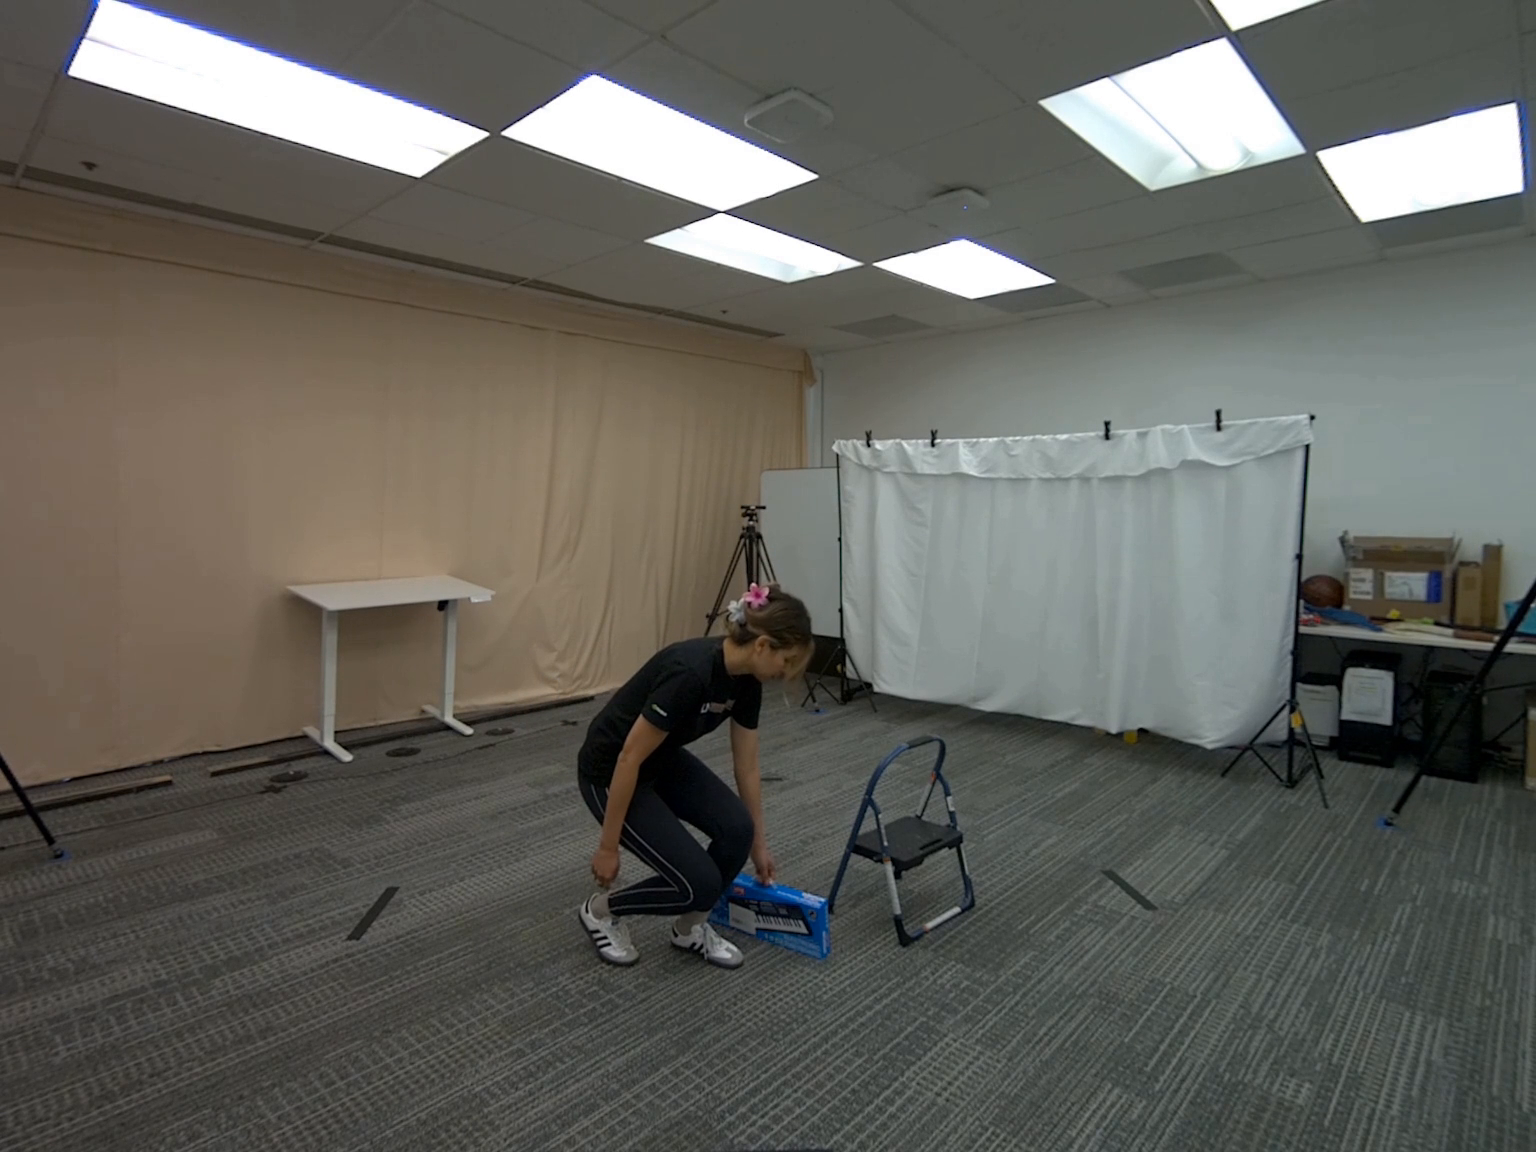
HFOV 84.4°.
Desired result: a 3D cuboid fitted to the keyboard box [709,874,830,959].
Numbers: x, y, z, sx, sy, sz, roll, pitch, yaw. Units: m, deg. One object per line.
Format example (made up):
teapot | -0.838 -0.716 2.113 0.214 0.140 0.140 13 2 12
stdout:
keyboard box | -0.006 1.081 2.713 0.450 0.175 0.057 3 9 34
